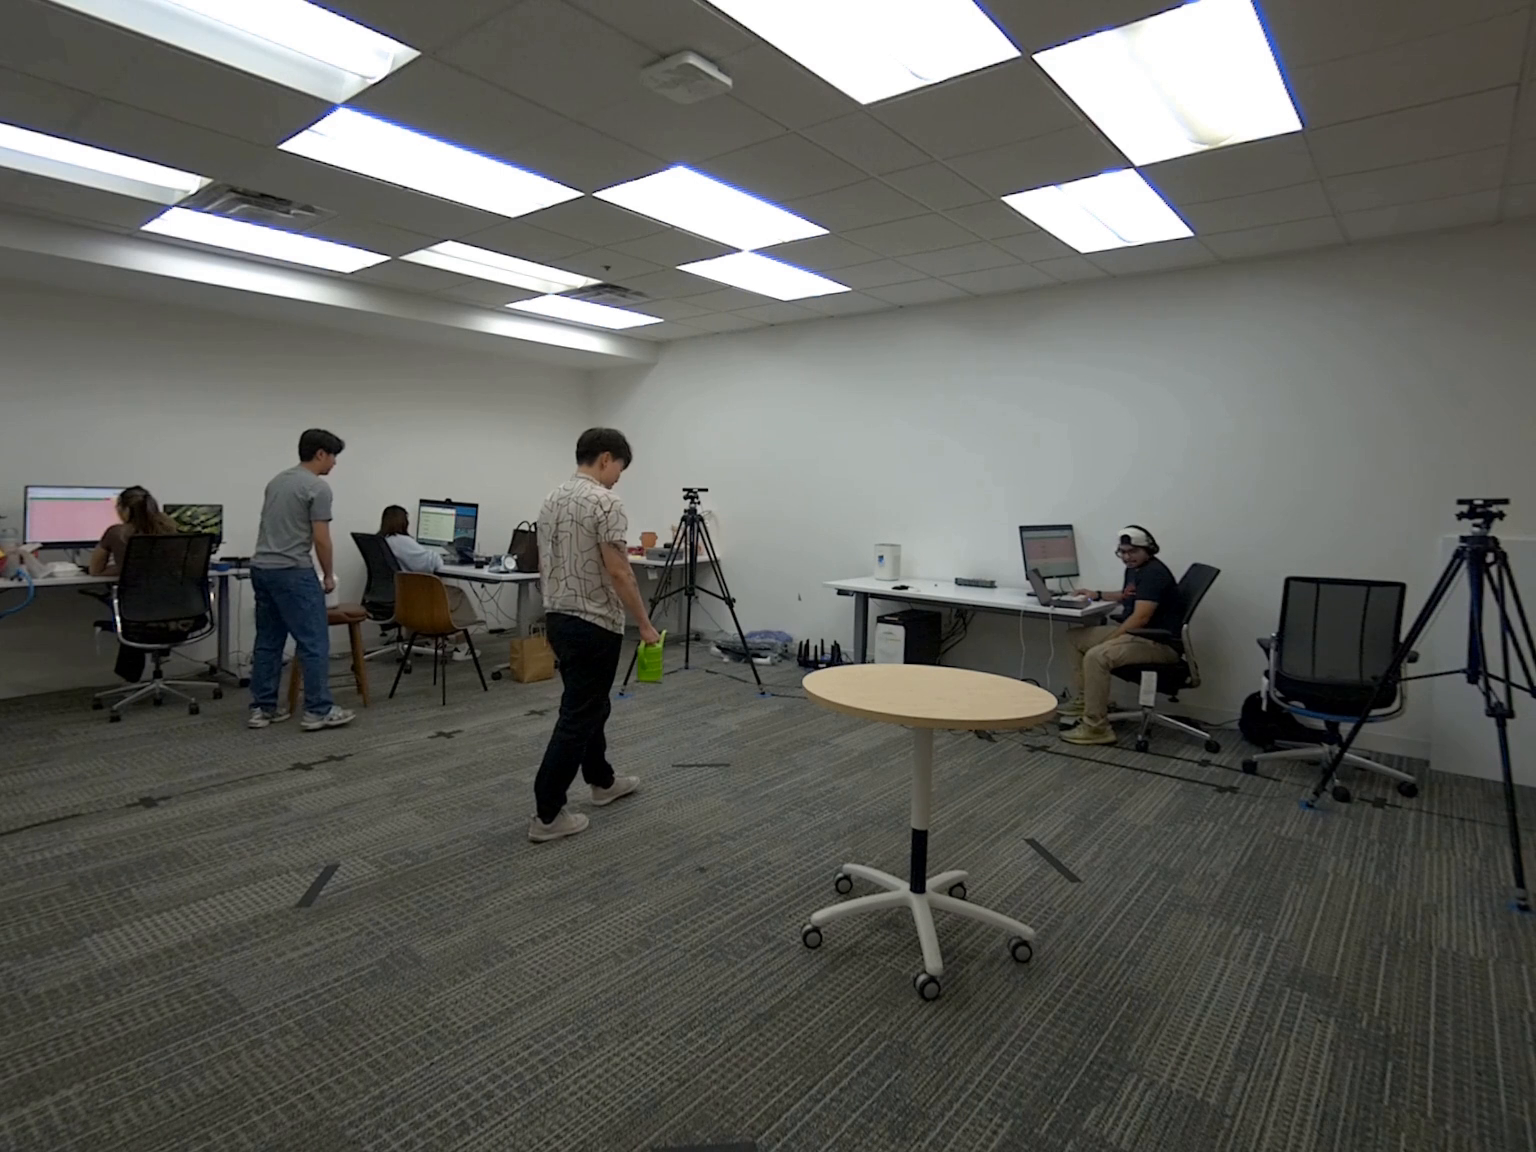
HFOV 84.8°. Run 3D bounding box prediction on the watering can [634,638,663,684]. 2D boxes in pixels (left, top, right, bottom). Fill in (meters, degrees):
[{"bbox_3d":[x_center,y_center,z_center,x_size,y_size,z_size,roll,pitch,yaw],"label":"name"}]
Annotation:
[{"bbox_3d":[-0.474,0.319,3.459,0.101,0.176,0.272,6,7,27],"label":"watering can"}]
